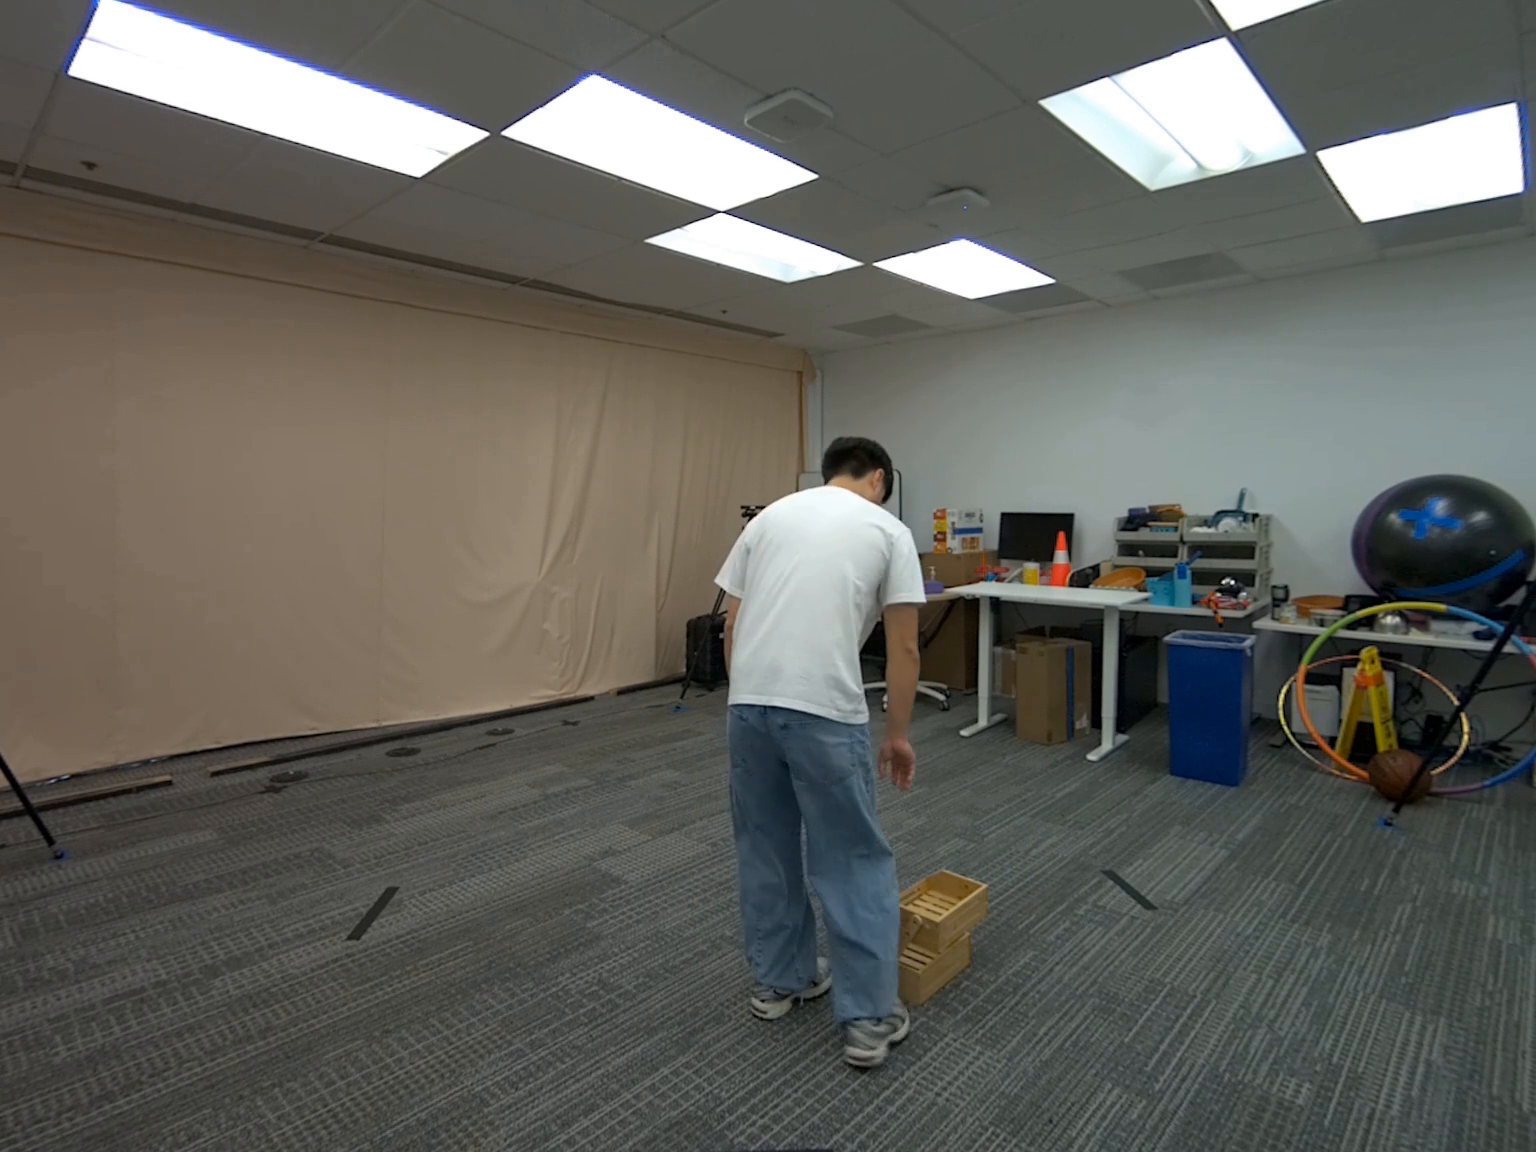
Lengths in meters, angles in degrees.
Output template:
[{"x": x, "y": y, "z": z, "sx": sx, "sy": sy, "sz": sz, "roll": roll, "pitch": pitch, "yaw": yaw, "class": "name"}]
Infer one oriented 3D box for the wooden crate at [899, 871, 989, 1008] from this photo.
[{"x": 0.451, "y": 1.050, "z": 2.508, "sx": 0.312, "sy": 0.272, "sz": 0.314, "roll": 5, "pitch": 7, "yaw": 41, "class": "wooden crate"}]
